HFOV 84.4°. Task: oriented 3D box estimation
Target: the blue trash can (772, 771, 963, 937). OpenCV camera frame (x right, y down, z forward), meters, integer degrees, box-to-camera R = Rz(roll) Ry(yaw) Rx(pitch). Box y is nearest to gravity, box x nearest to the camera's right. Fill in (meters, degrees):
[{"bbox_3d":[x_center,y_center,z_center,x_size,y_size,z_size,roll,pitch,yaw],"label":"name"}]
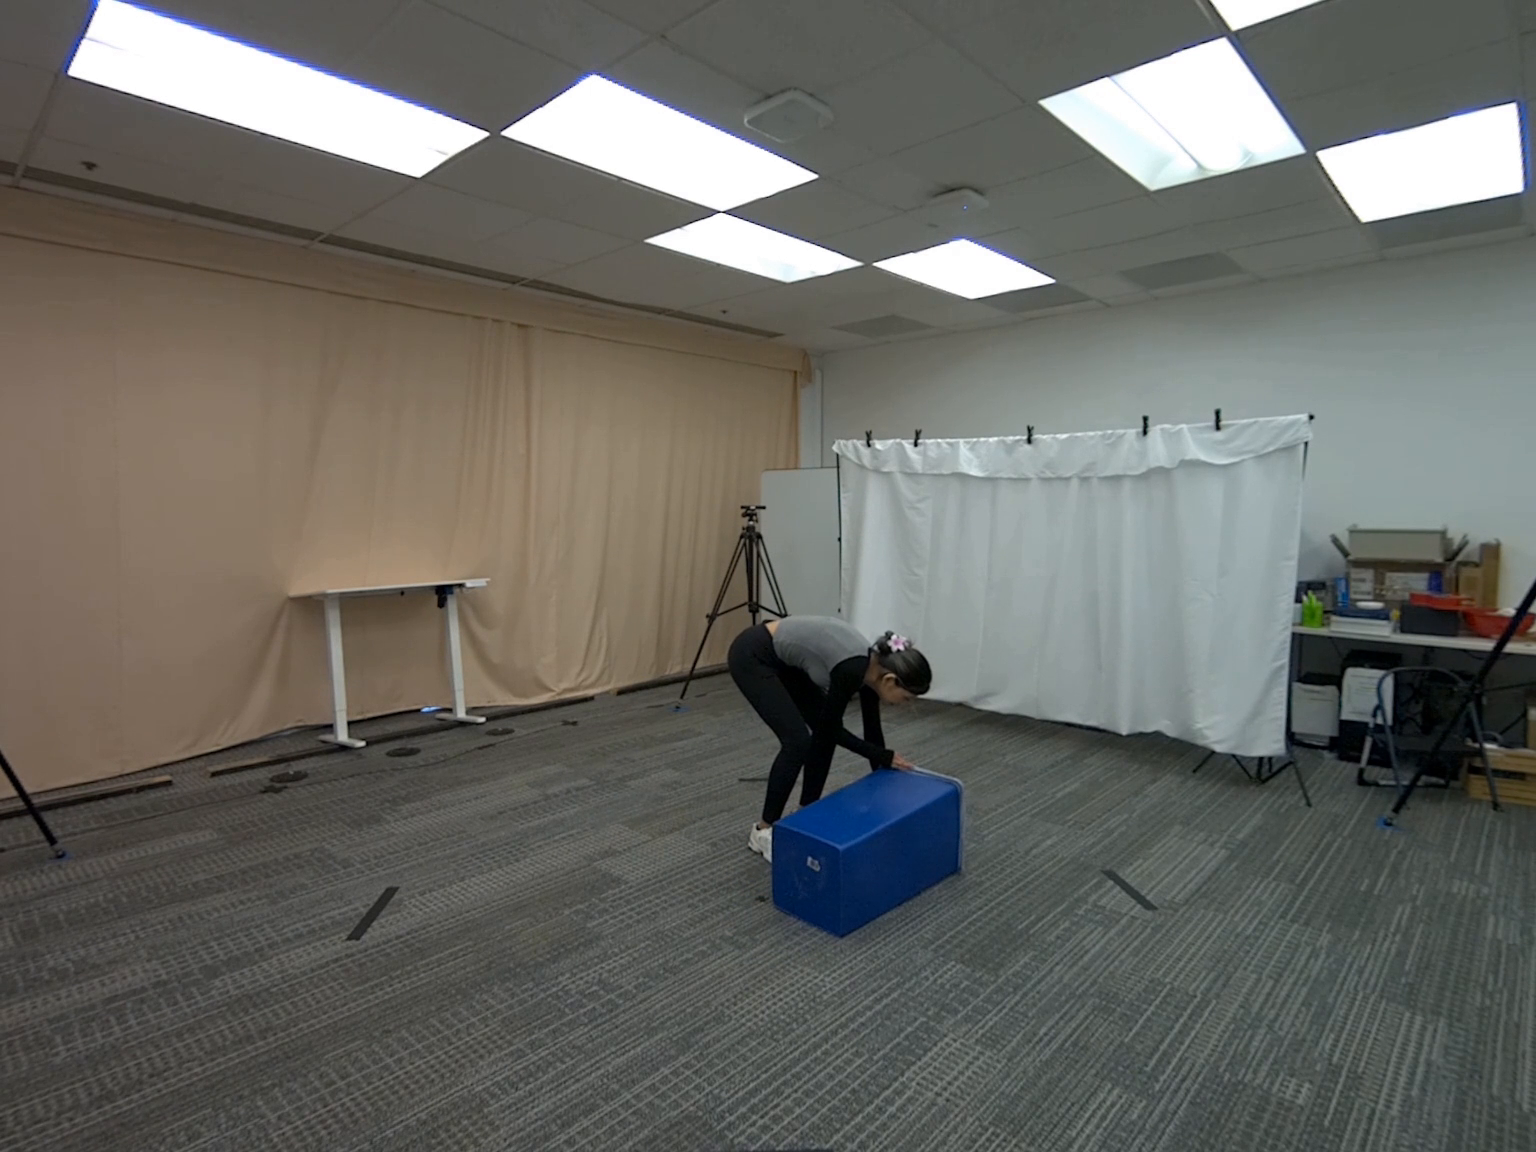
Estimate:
[{"bbox_3d":[0.371,0.963,3.037,0.391,0.372,0.692,6,9,44],"label":"blue trash can"}]
